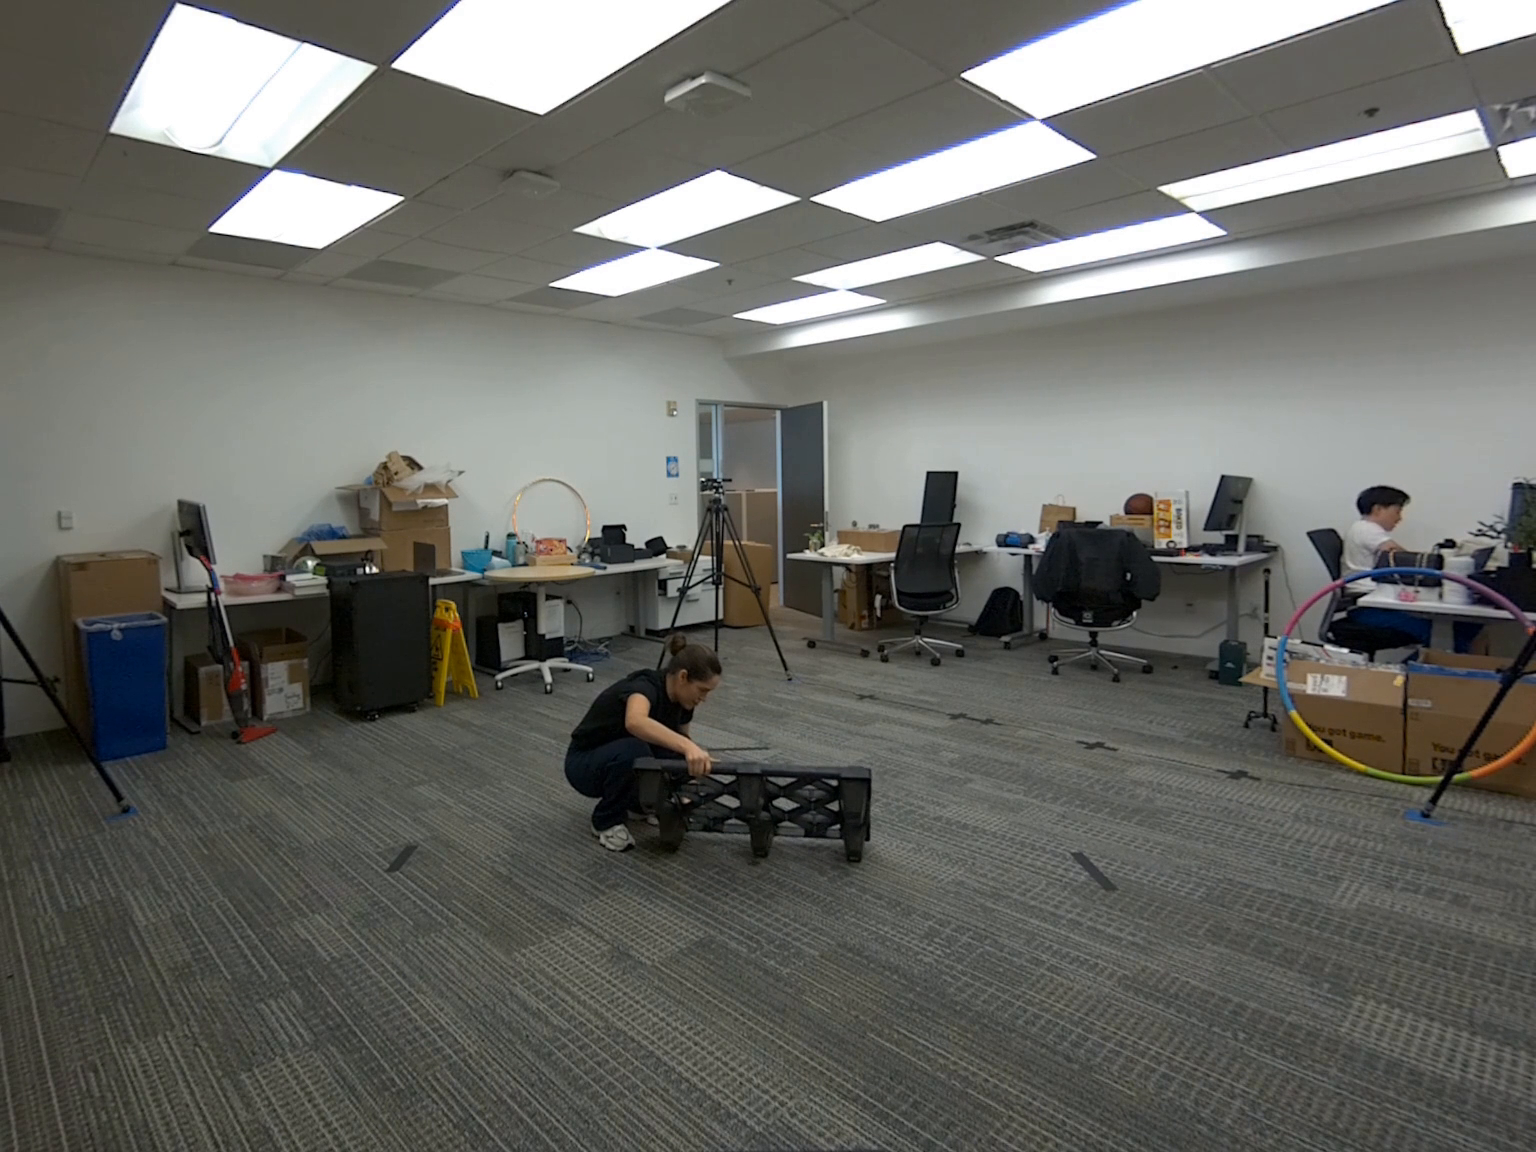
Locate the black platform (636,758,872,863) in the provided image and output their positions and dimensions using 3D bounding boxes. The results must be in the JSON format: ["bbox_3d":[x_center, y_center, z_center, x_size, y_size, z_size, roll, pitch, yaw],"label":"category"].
[{"bbox_3d":[-0.035,0.842,3.023,0.813,0.146,0.586,1,-37,9],"label":"black platform"}]
